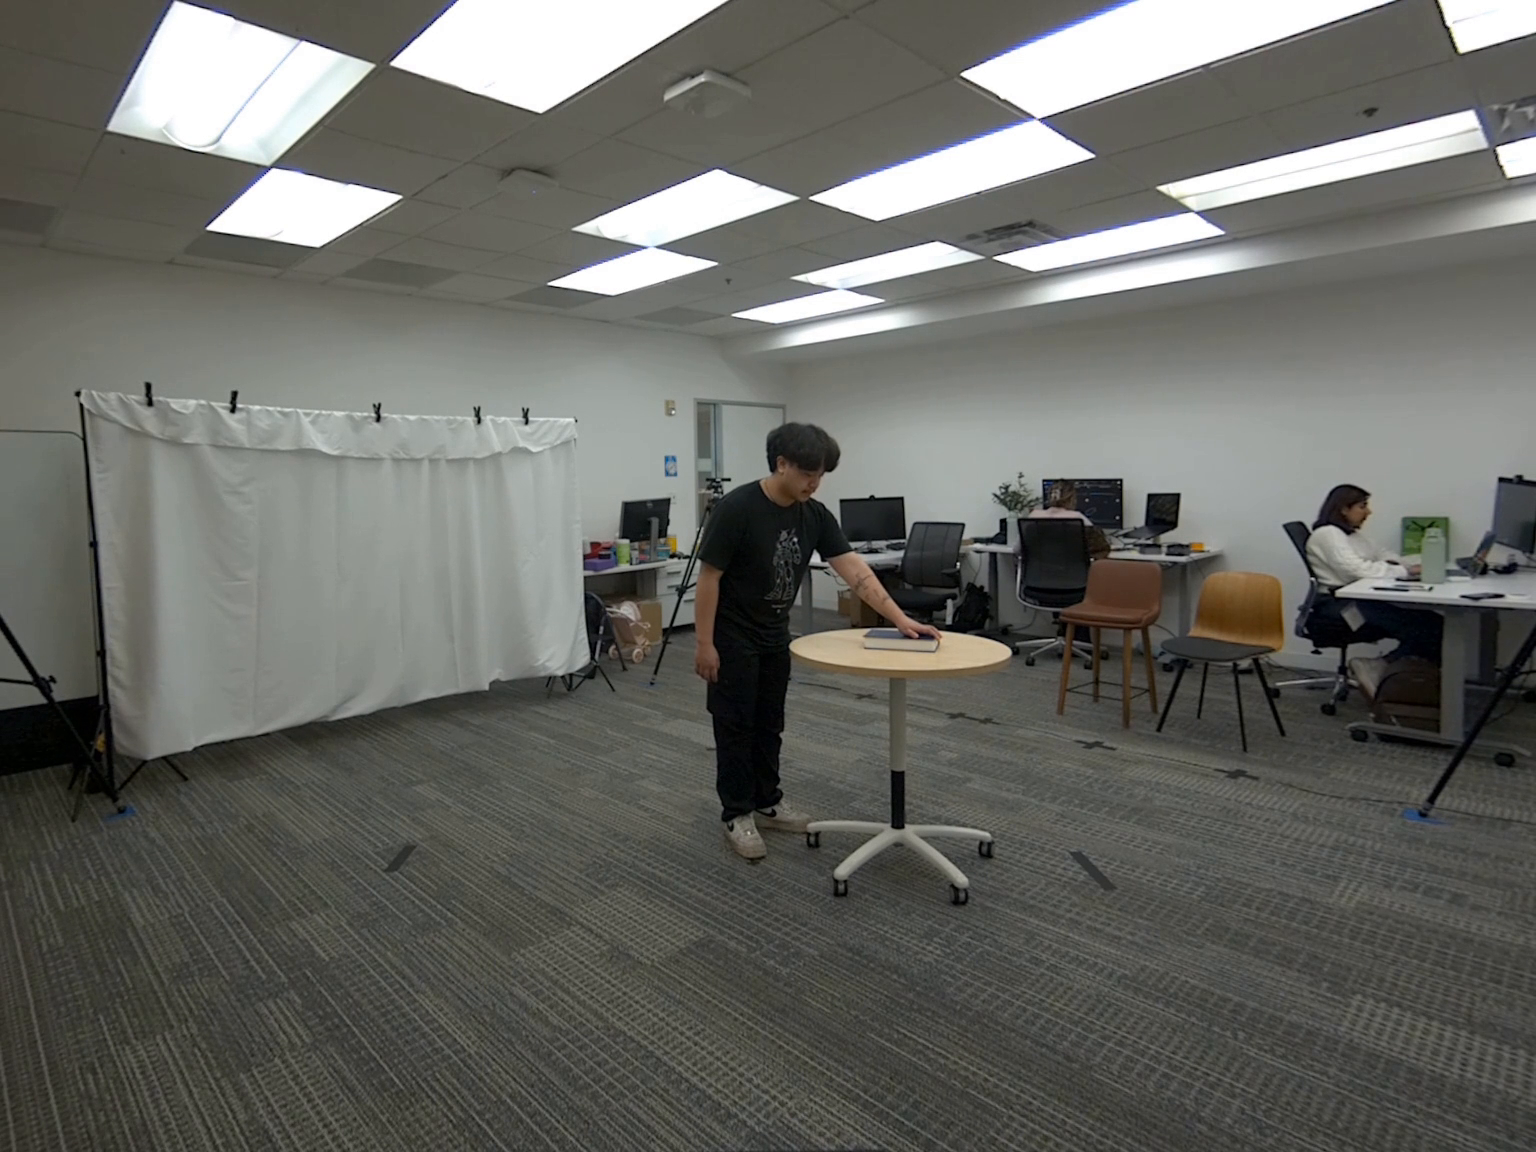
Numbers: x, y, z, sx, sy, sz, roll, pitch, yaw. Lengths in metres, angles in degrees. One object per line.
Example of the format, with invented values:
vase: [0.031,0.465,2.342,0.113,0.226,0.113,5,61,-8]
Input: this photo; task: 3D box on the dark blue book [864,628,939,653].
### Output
dark blue book: [0.481,0.229,3.022,0.249,0.045,0.161,2,6,18]
